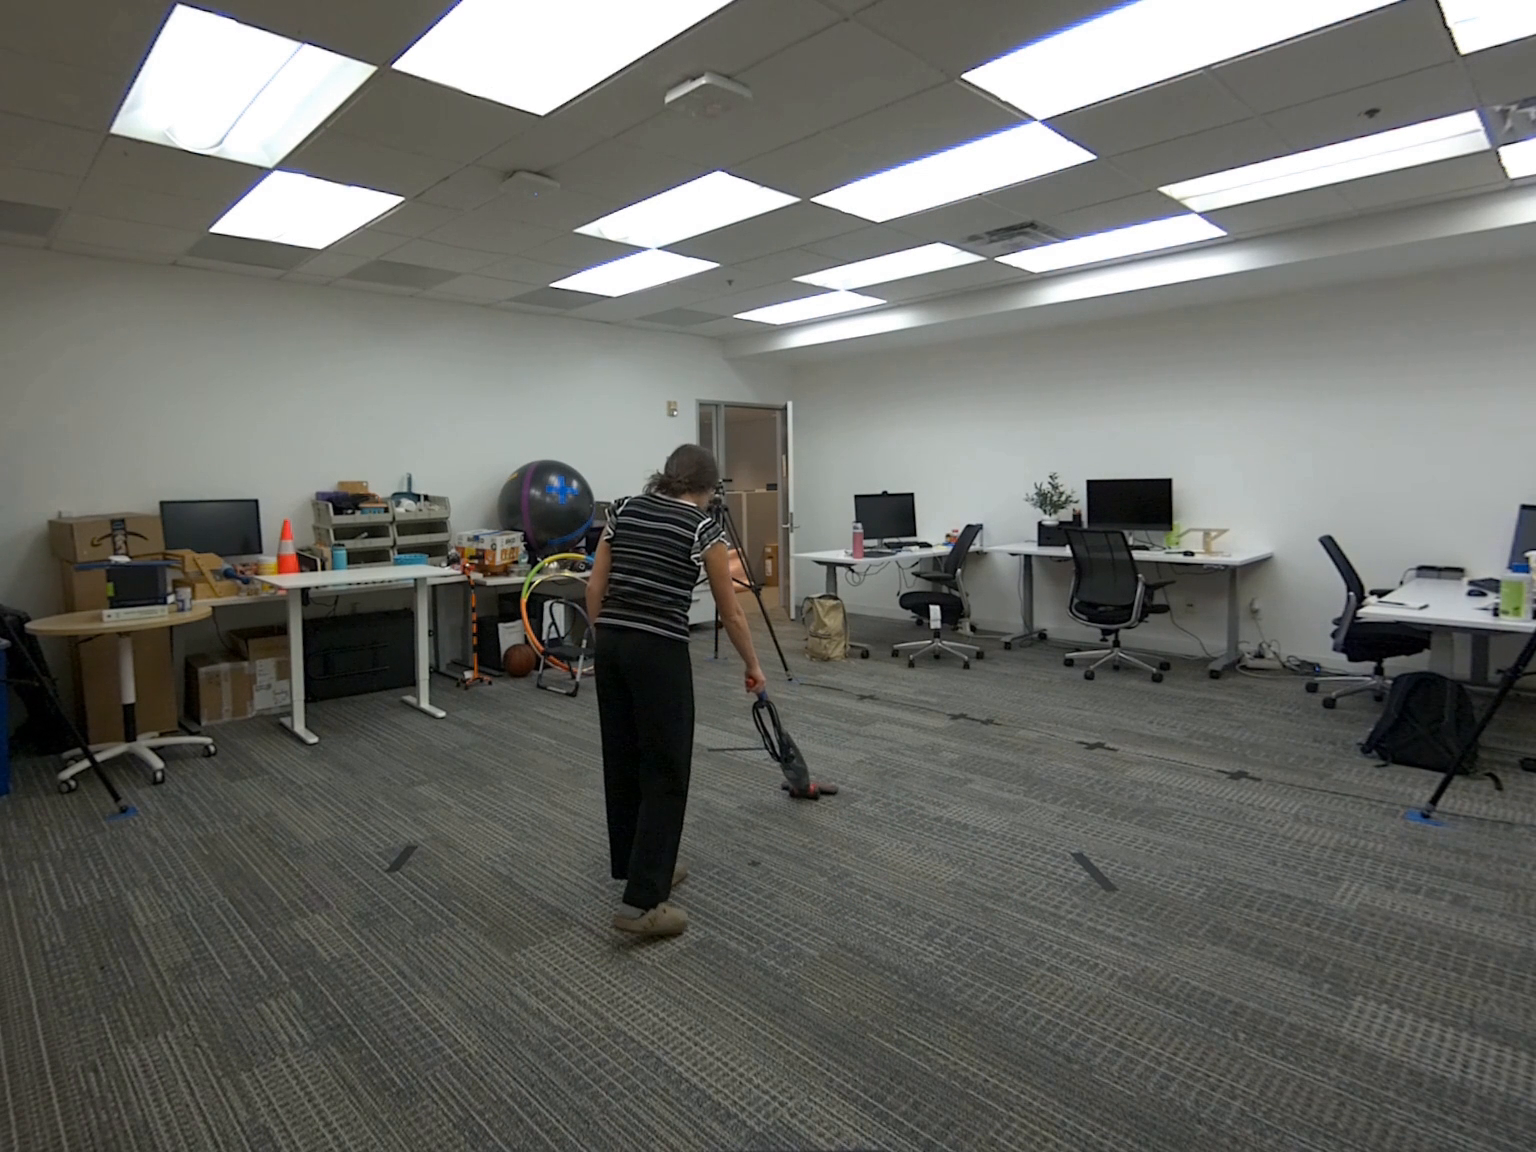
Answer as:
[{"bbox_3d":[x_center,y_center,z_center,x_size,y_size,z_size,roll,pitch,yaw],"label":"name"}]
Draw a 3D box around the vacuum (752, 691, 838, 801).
[{"bbox_3d":[0.048,0.664,3.384,0.258,0.146,1.012,4,-34,20],"label":"vacuum"}]
